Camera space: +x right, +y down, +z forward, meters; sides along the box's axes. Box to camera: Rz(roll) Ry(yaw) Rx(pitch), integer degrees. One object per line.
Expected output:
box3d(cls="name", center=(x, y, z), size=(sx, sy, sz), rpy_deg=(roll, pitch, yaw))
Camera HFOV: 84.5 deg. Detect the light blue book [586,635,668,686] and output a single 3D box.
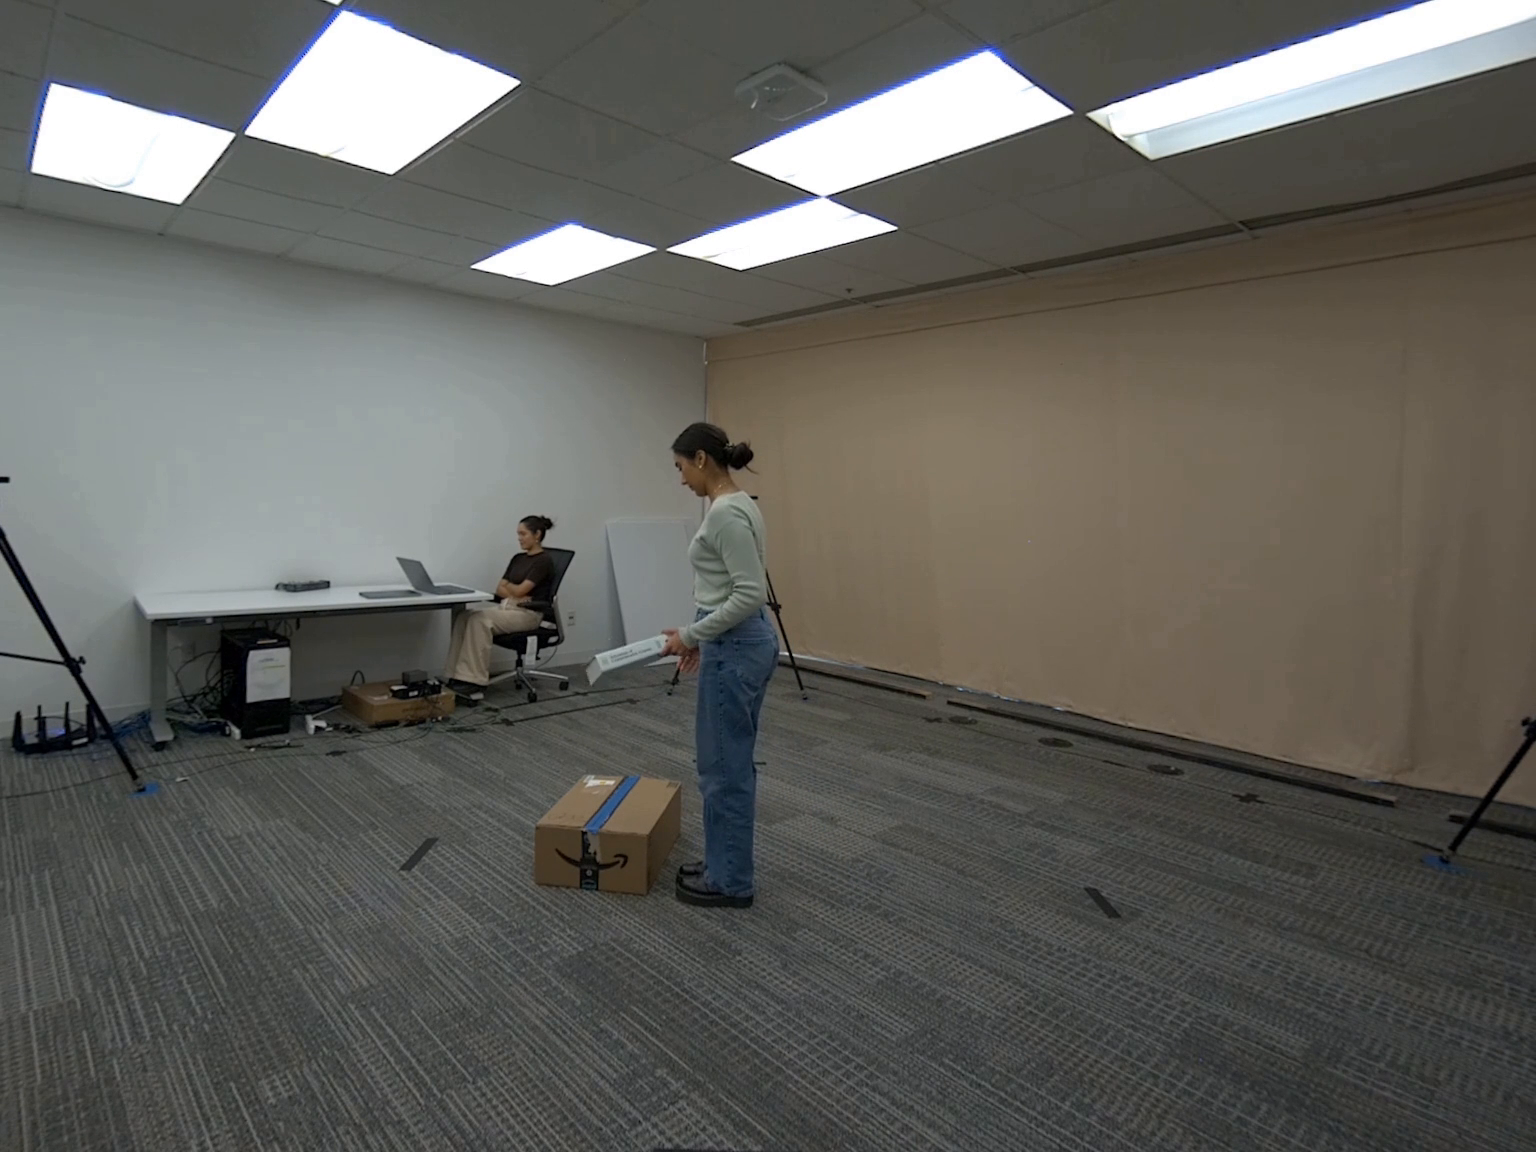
box3d(cls="light blue book", center=(-0.449, 0.263, 2.720), size=(0.257, 0.059, 0.192), rpy_deg=(-17, -9, -27))
